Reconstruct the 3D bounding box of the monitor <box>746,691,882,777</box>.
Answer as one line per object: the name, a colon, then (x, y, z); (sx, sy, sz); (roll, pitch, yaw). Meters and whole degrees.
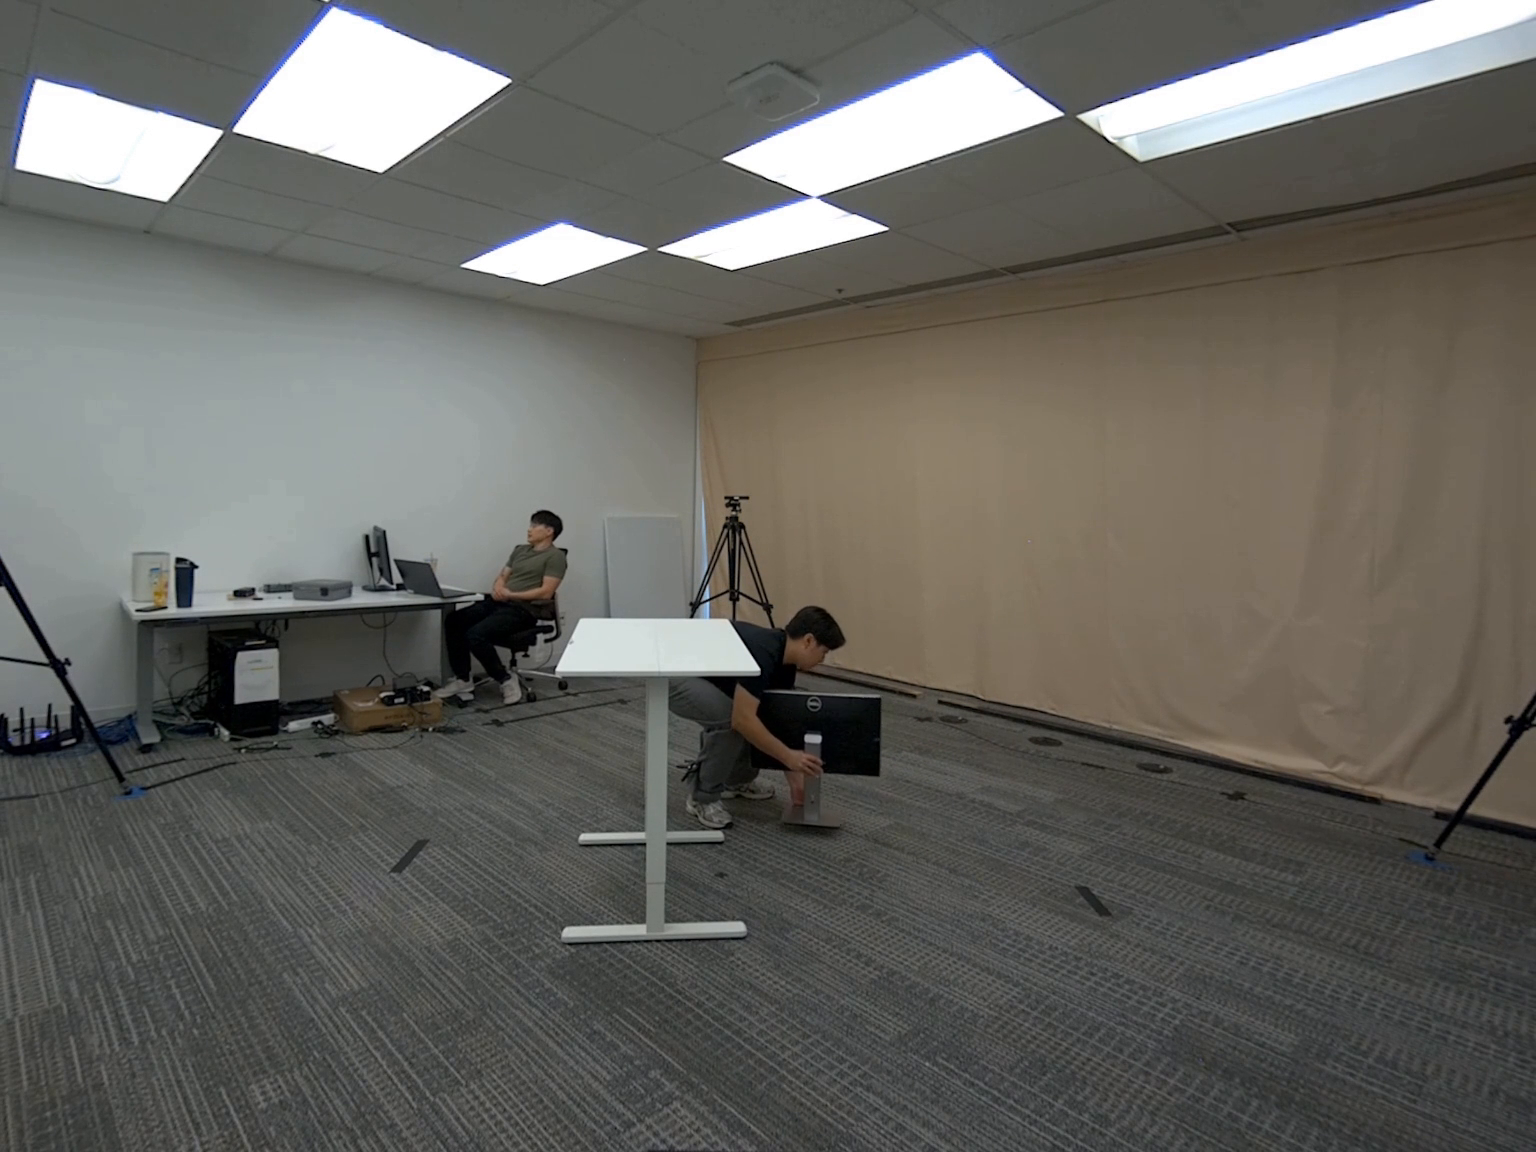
monitor: (0.184, 0.752, 3.560); (0.568, 0.565, 0.220); (3, 2, 13)
